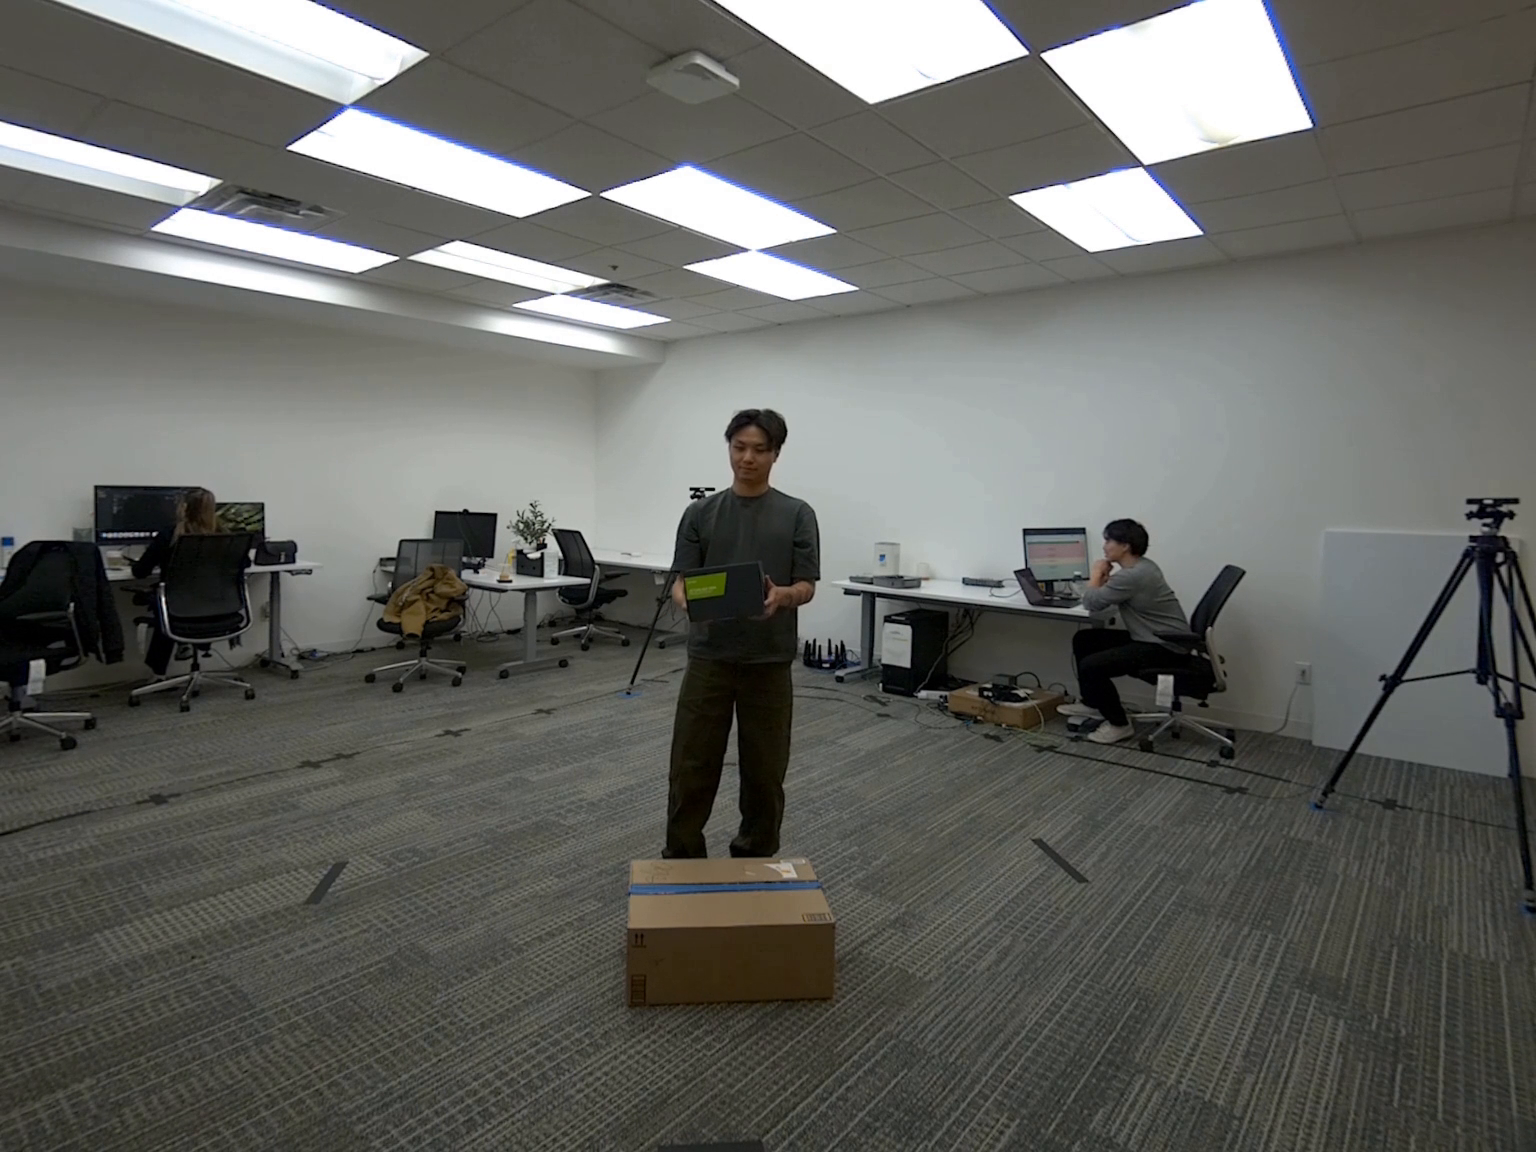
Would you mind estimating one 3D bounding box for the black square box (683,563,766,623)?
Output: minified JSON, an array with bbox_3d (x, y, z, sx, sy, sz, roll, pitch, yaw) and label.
[{"bbox_3d":[-0.140,0.044,2.610,0.229,0.156,0.216,-7,0,5],"label":"black square box"}]
